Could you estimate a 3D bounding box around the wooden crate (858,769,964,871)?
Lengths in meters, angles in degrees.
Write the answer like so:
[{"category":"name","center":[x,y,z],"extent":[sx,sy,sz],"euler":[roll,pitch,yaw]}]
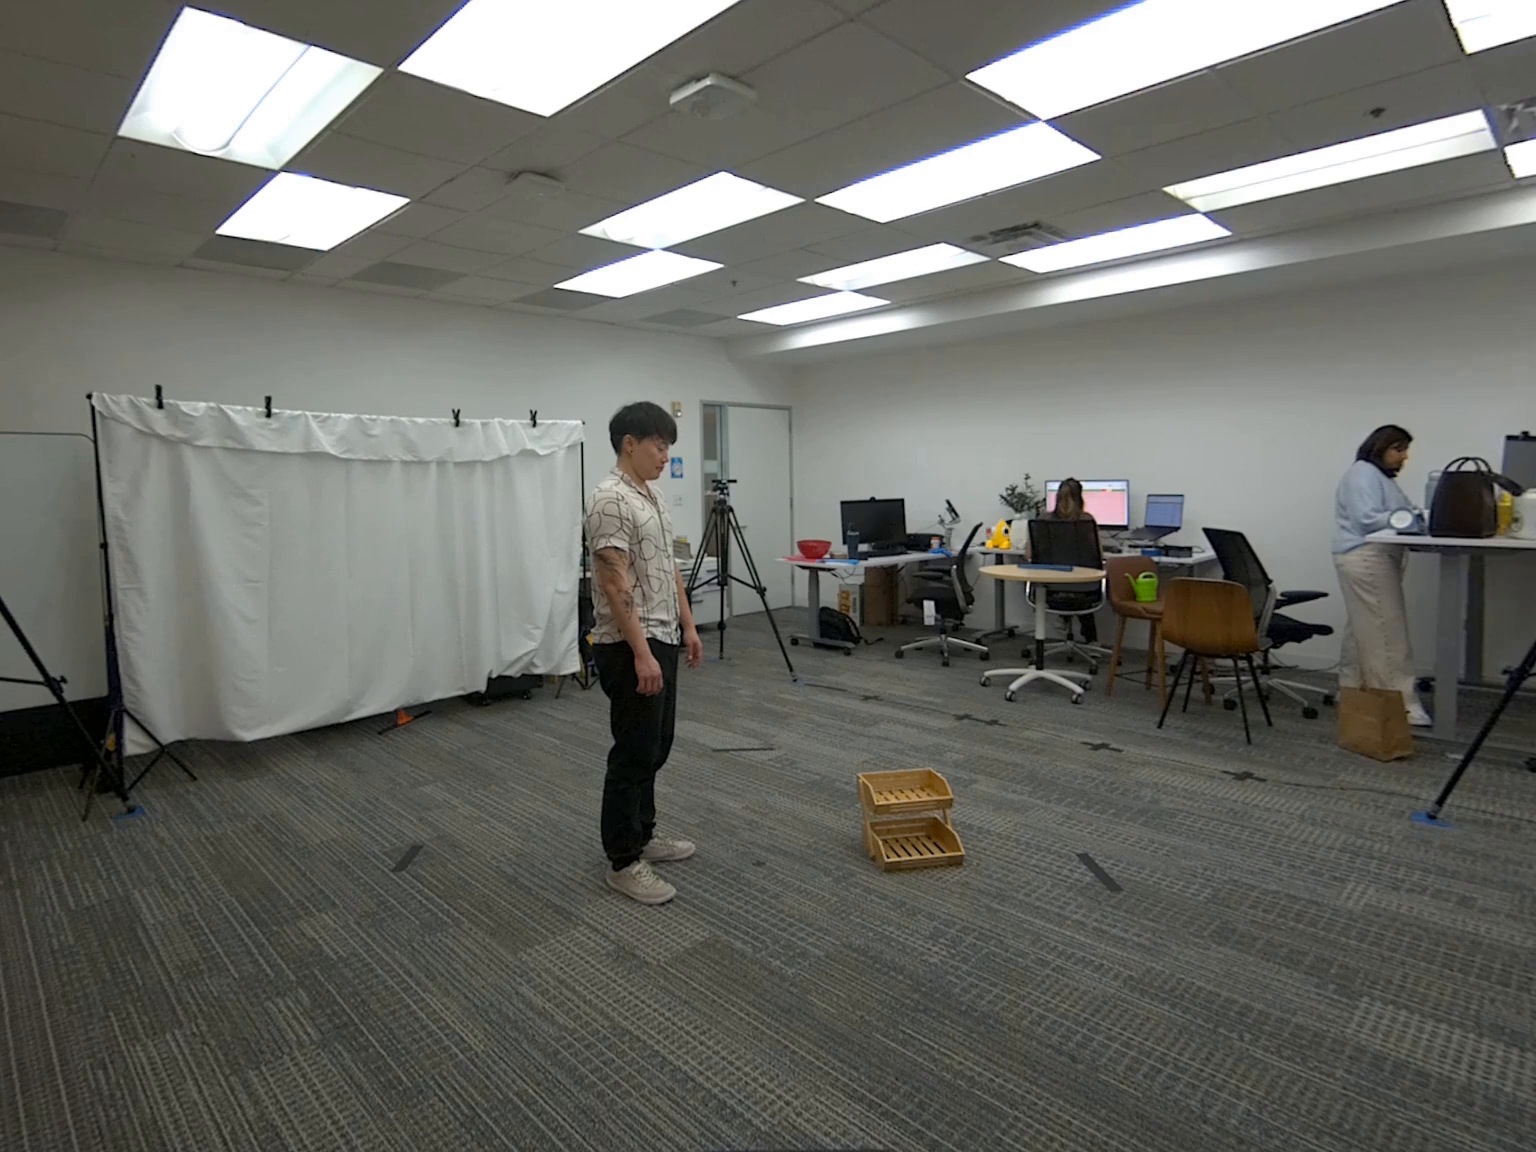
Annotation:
[{"category":"wooden crate","center":[0.533,0.896,3.167],"extent":[0.321,0.272,0.306],"euler":[-2,4,-12]}]
